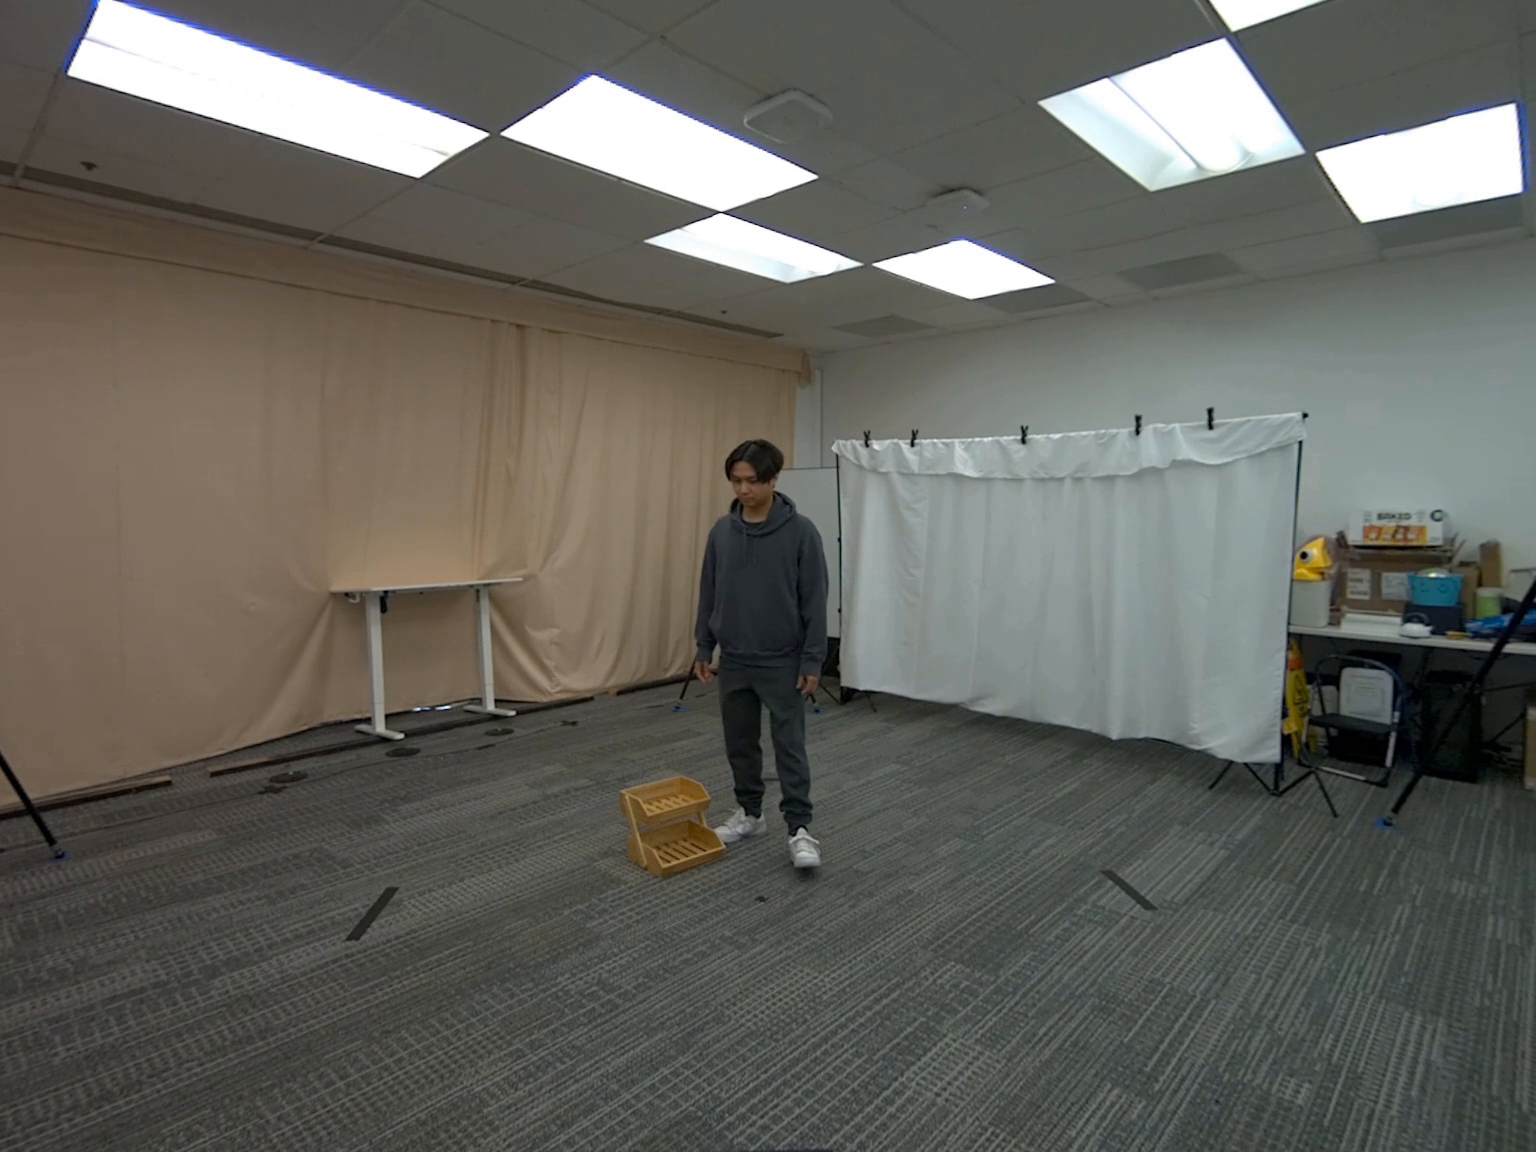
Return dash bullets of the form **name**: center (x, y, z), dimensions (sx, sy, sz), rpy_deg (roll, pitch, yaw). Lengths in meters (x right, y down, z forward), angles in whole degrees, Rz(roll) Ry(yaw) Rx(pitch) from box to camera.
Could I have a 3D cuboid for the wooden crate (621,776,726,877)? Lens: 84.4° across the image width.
- **wooden crate**: center (-0.376, 0.983, 3.342), dimensions (0.315, 0.273, 0.312), rpy_deg (-4, 4, -40)
